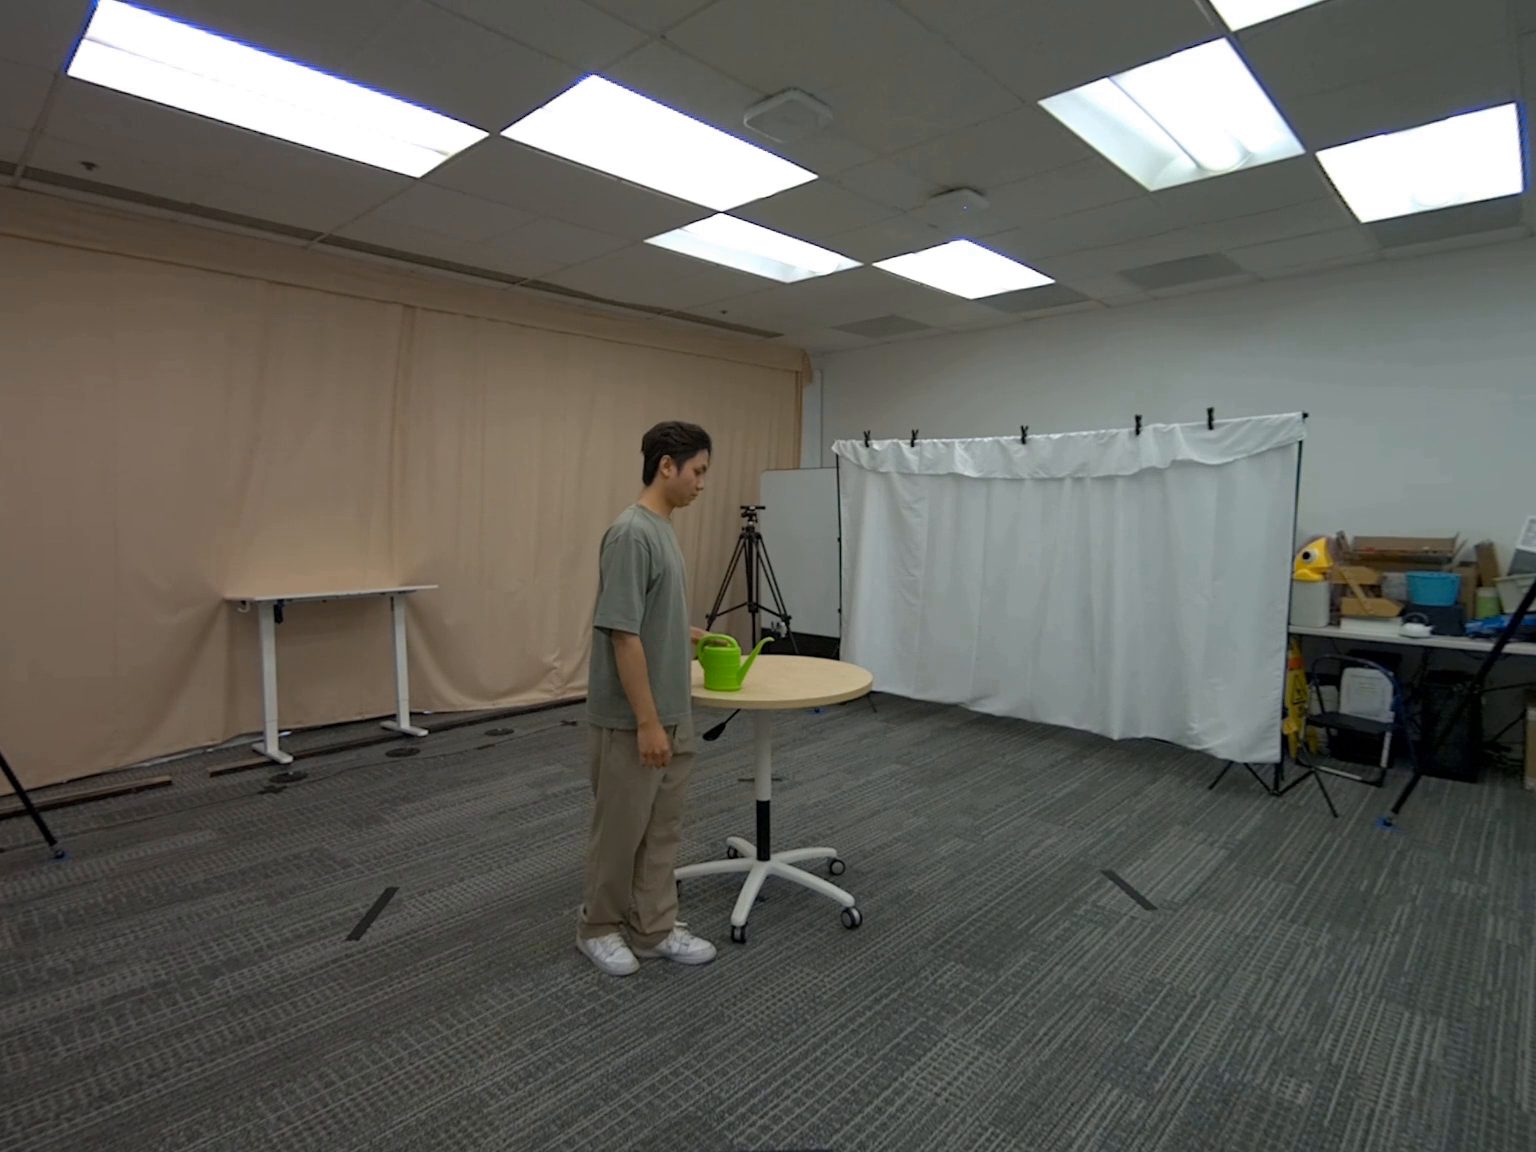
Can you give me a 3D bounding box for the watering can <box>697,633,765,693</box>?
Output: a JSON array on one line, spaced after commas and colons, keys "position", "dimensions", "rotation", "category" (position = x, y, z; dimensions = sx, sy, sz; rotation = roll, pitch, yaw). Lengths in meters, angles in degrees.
[{"position": [-0.117, 0.288, 2.714], "dimensions": [0.287, 0.176, 0.095], "rotation": [3, 6, 43], "category": "watering can"}]
